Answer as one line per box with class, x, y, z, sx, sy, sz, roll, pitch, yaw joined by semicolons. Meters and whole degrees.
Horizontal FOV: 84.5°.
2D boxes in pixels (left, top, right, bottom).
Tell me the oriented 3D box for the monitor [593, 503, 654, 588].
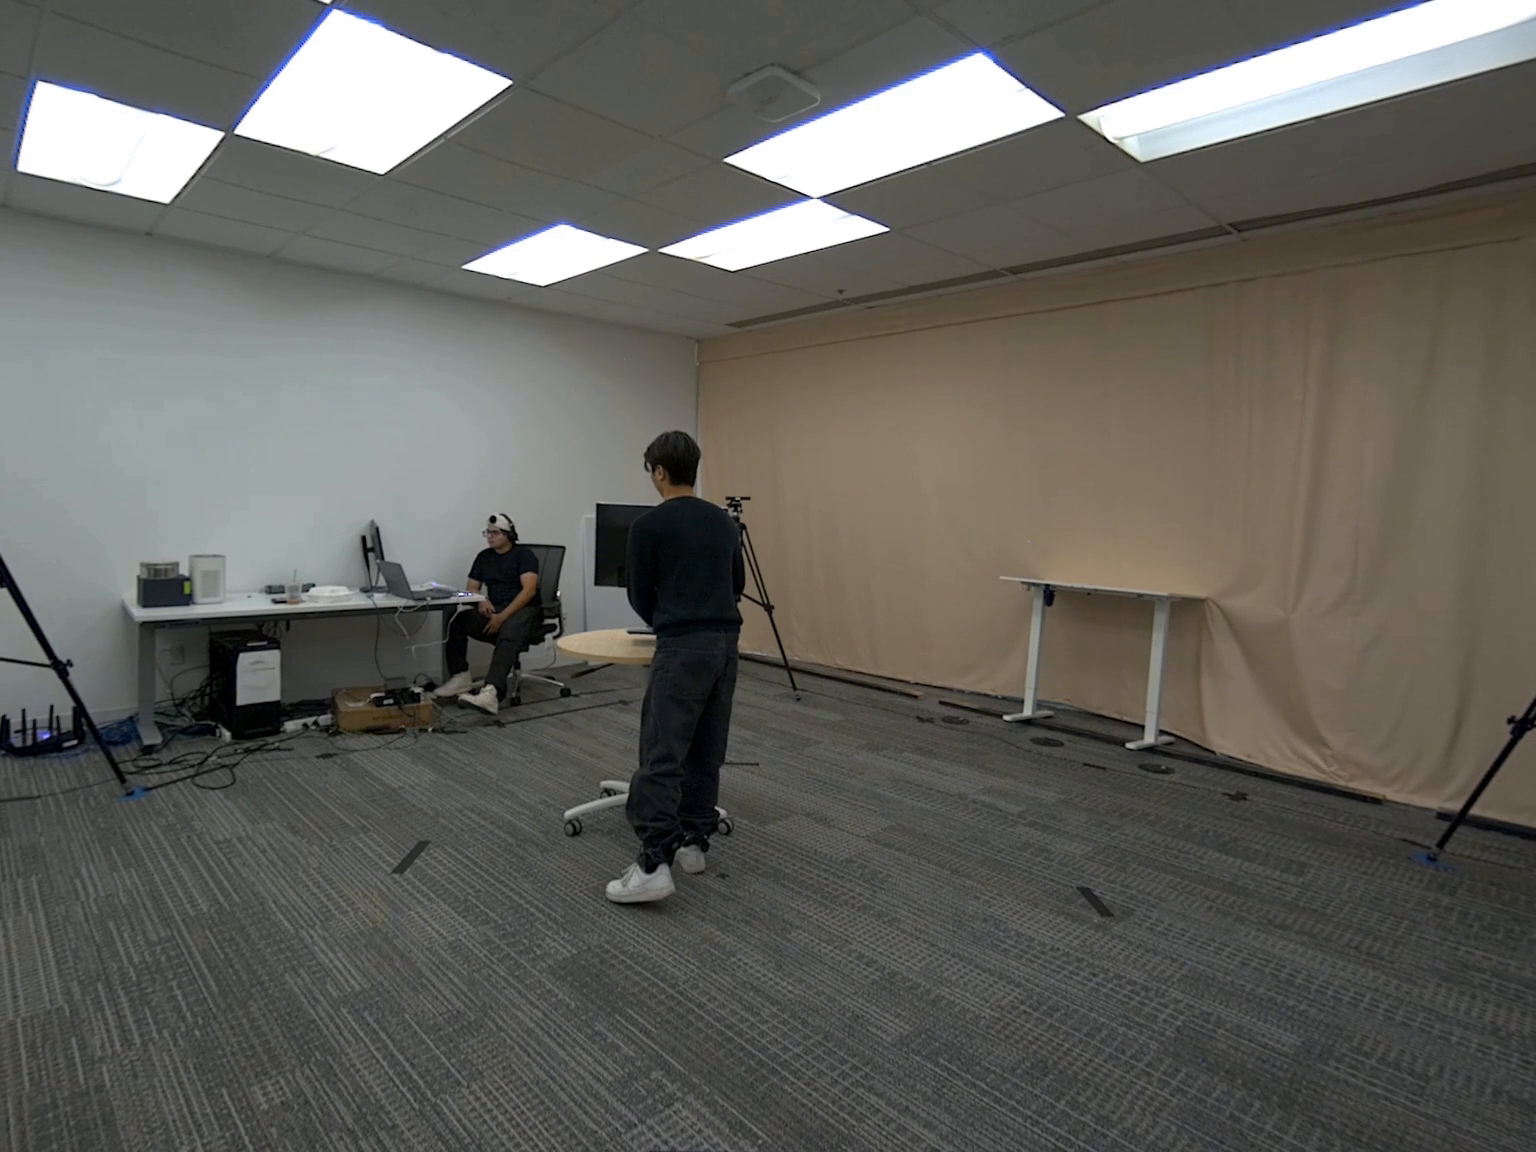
monitor;-0.453;-0.029;3.521;0.528;0.518;0.174;1;-7;-5
